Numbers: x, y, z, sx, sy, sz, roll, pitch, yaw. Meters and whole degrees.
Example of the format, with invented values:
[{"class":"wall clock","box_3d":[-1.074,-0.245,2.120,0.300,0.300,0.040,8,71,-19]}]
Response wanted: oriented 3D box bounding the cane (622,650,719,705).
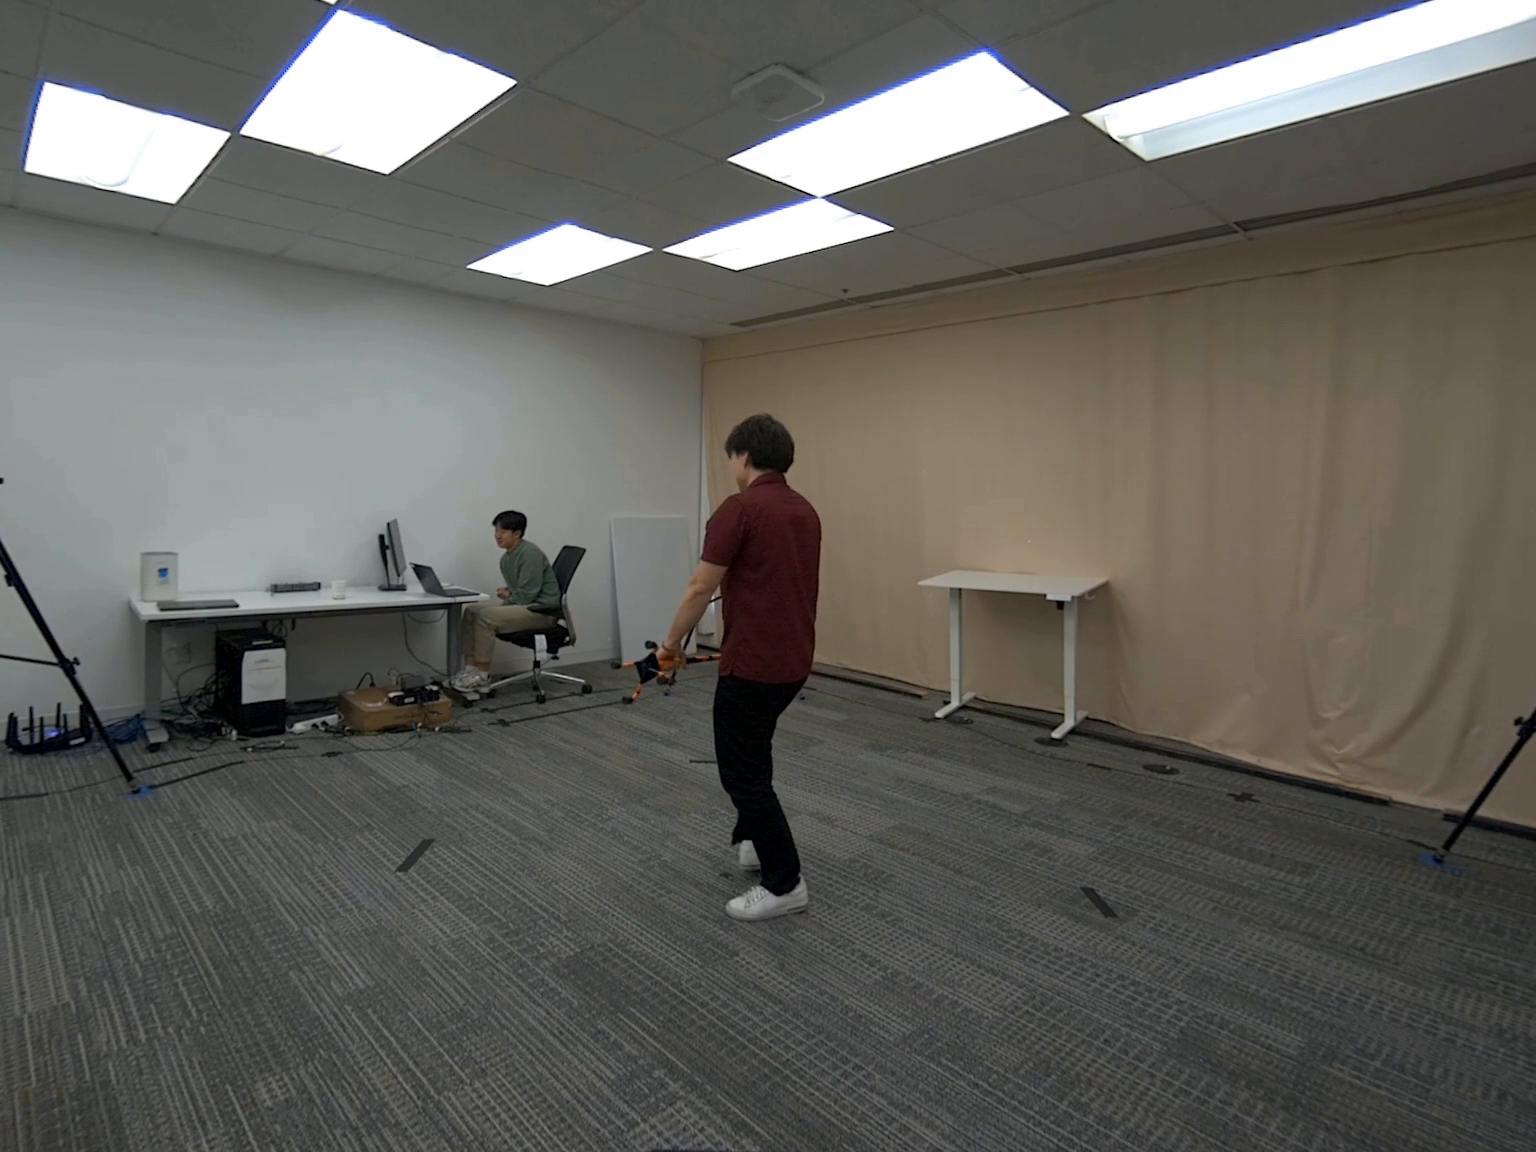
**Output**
[{"class":"cane","box_3d":[-0.165,0.312,3.088,0.208,0.154,0.887,-32,-19,34]}]
